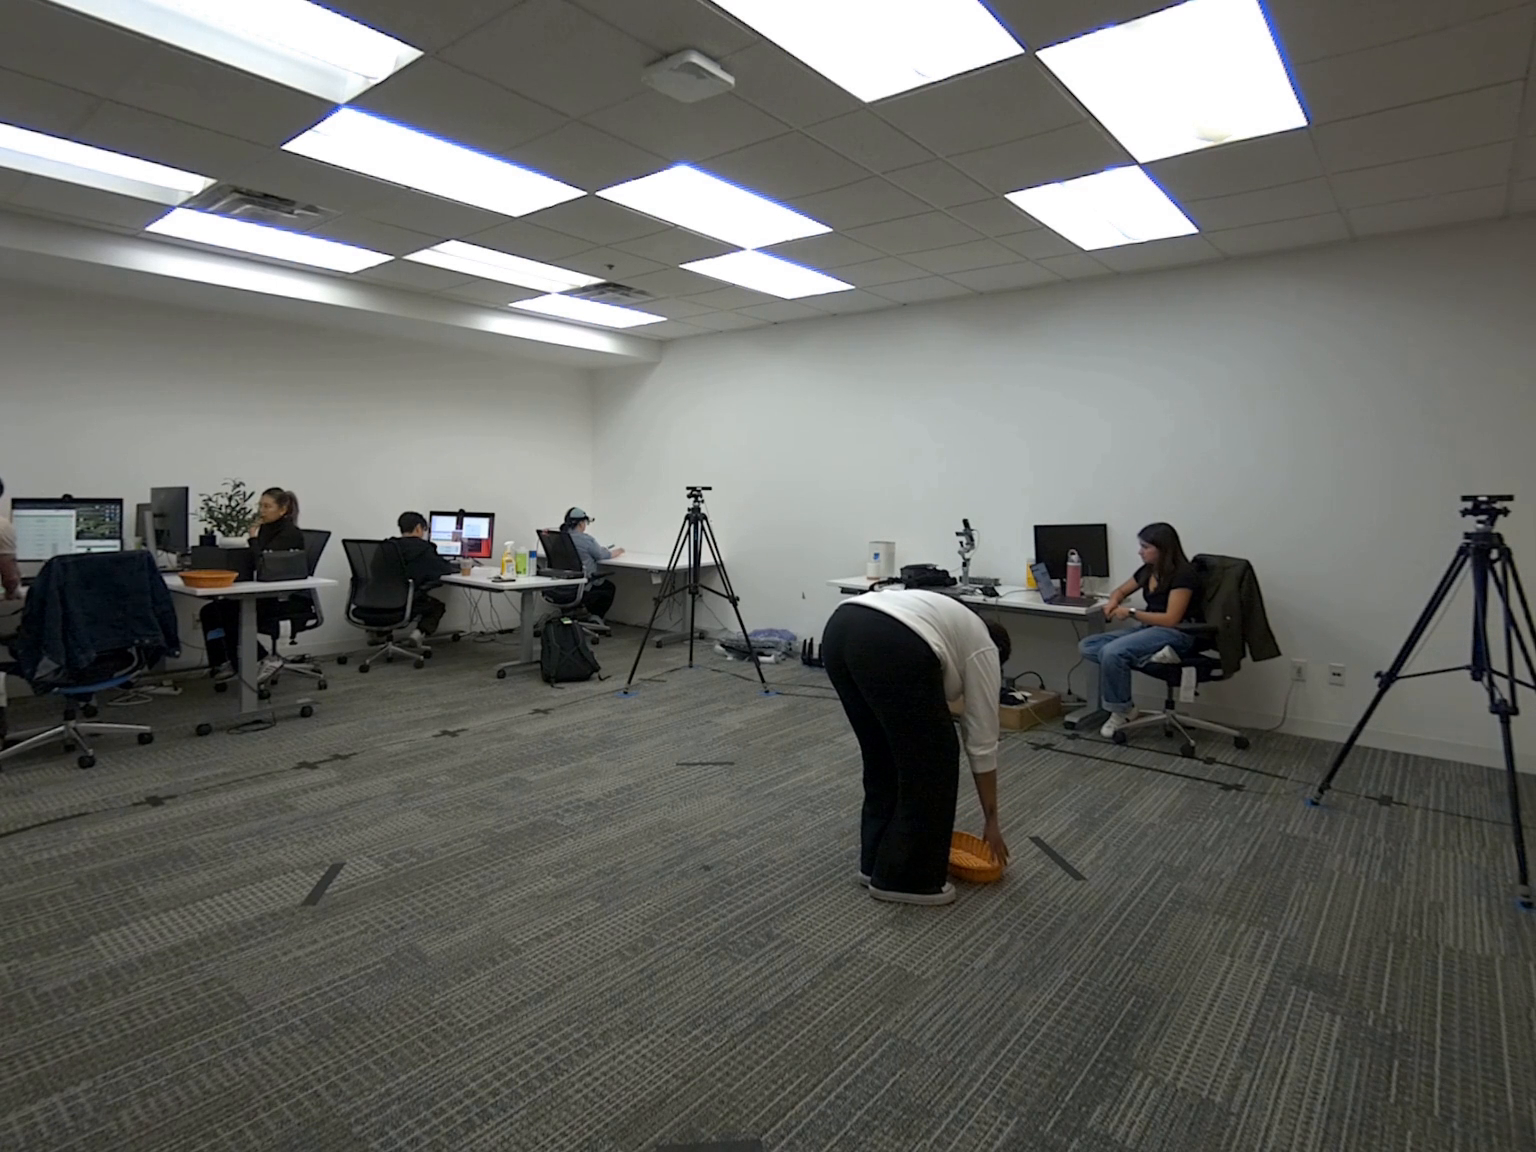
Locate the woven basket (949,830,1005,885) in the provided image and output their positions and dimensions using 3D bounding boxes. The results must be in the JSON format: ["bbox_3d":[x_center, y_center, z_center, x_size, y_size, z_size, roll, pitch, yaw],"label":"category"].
[{"bbox_3d":[0.719,1.039,3.157,0.245,0.073,0.362,-6,10,-36],"label":"woven basket"}]
